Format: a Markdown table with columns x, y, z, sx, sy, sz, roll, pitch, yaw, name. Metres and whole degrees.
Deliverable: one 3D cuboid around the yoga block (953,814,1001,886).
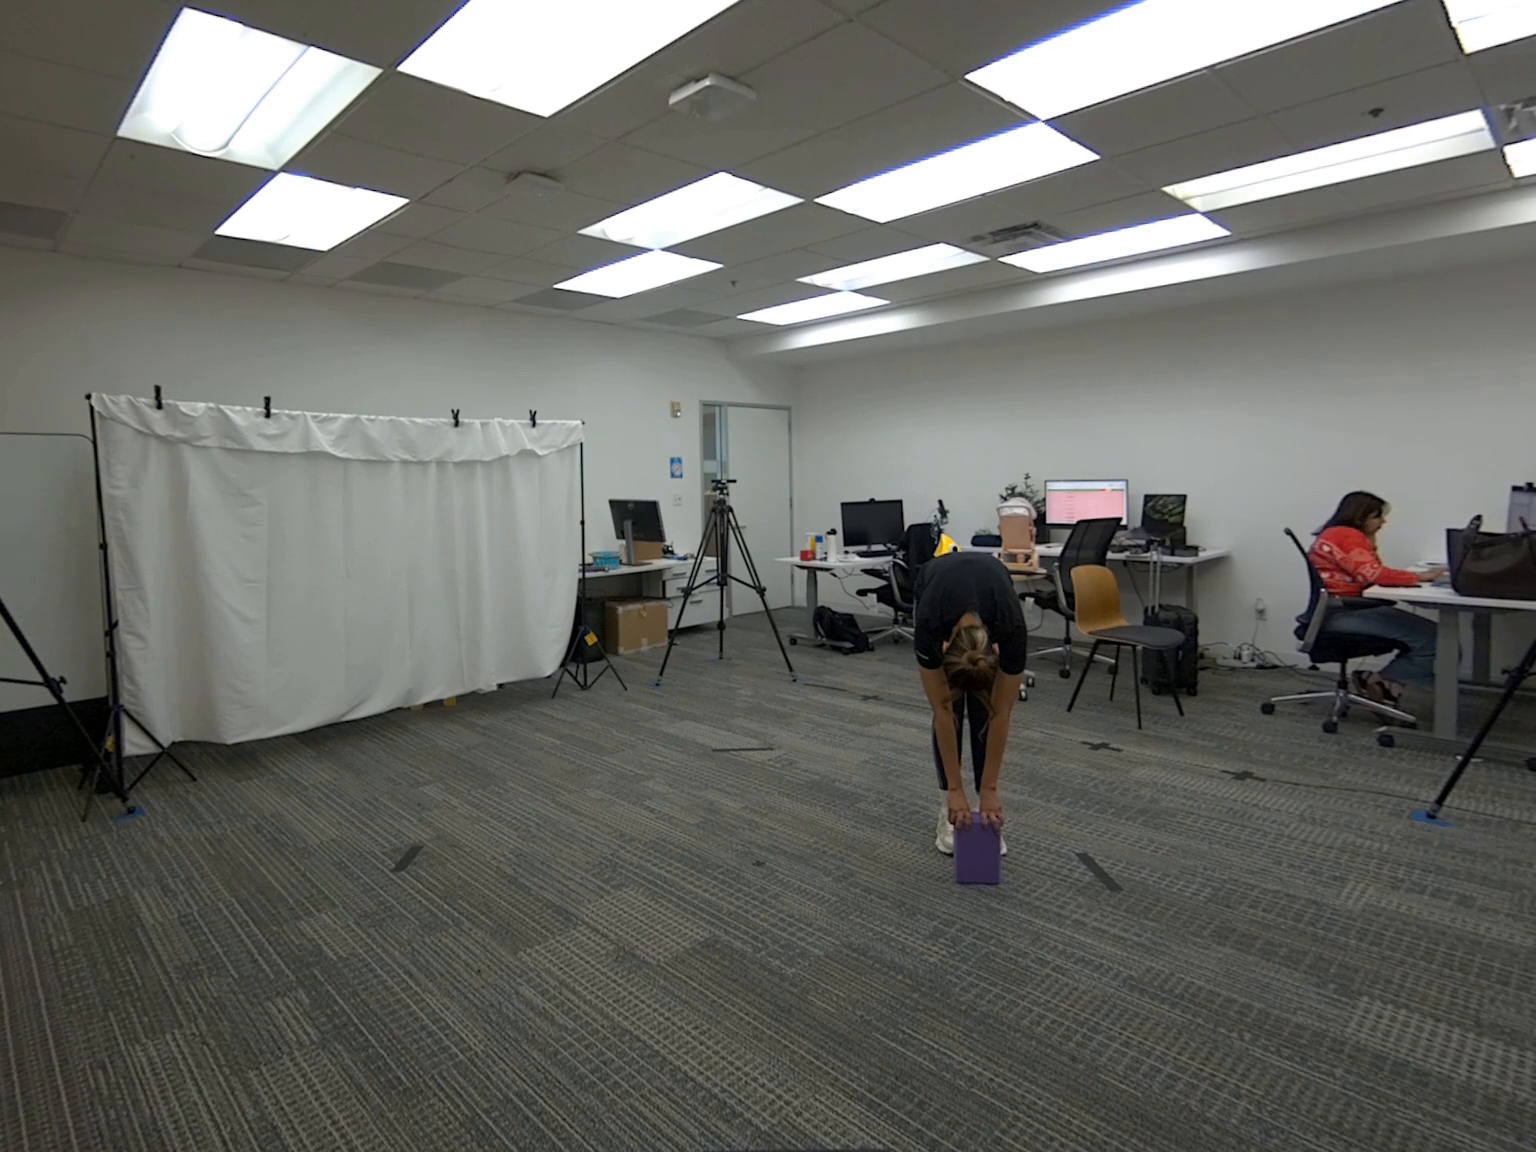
| x | y | z | sx | sy | sz | roll | pitch | yaw | name |
| --- | --- | --- | --- | --- | --- | --- | --- | --- | --- |
| 0.723 | 0.944 | 2.943 | 0.150 | 0.229 | 0.076 | -2 | 3 | 5 | yoga block |
